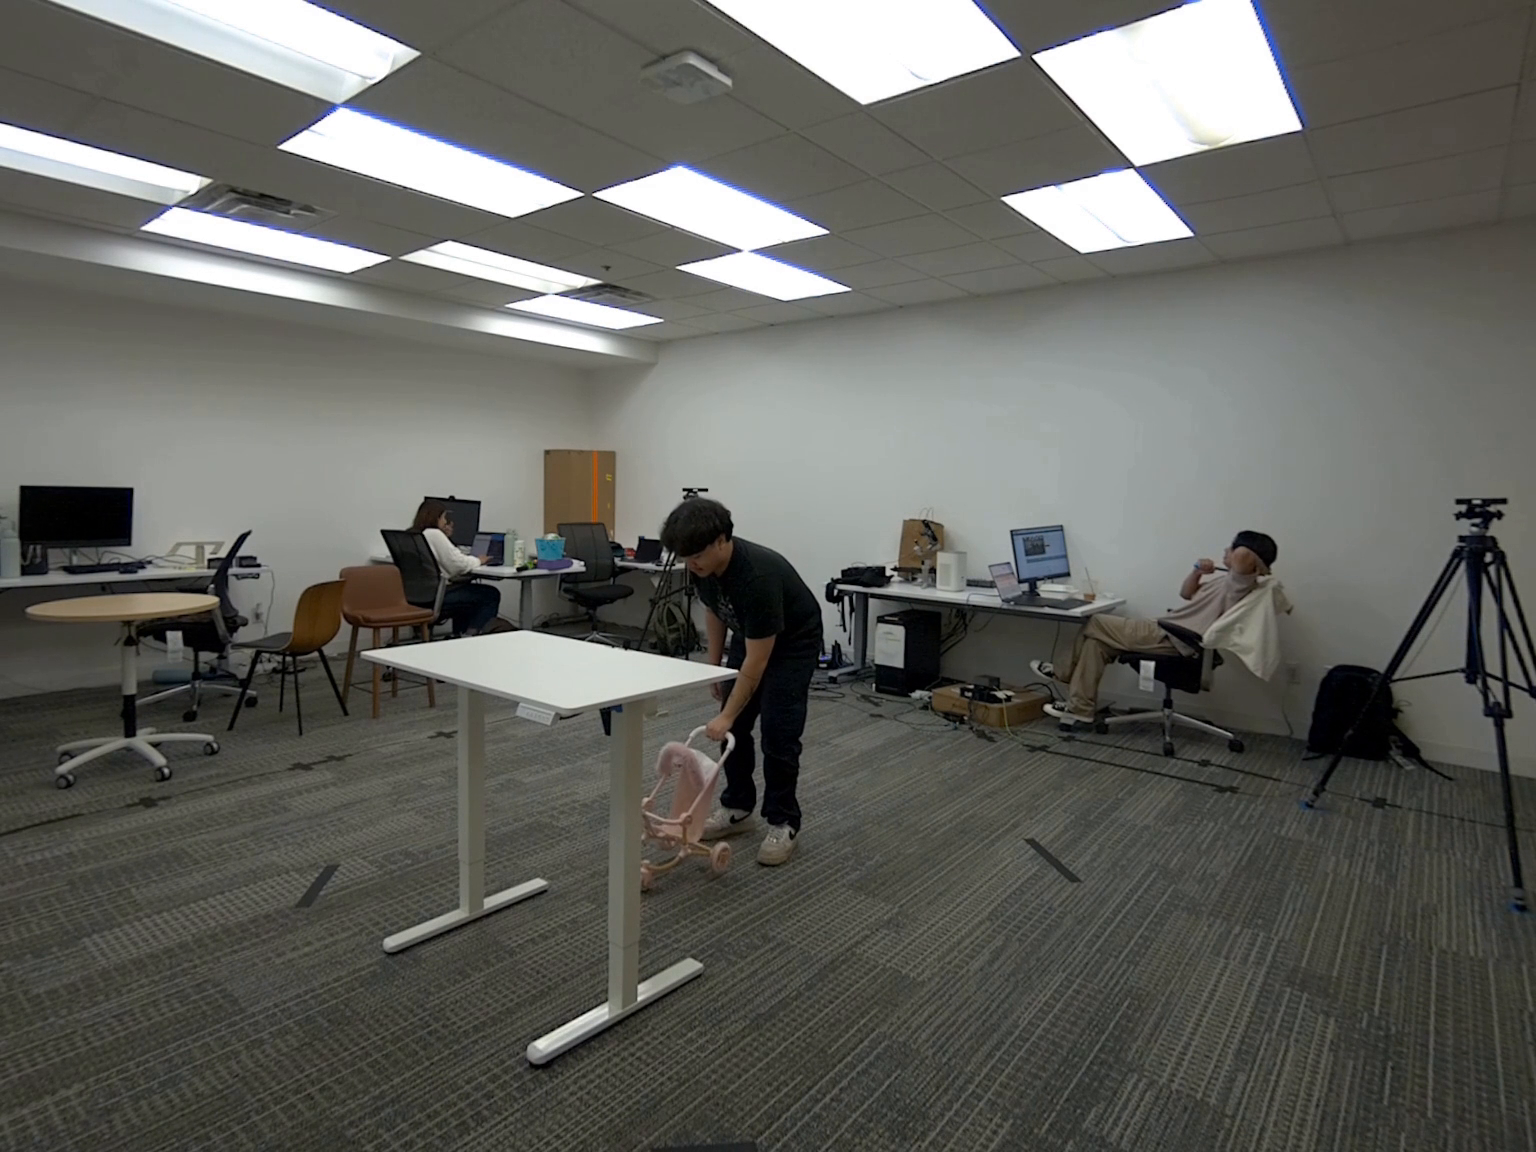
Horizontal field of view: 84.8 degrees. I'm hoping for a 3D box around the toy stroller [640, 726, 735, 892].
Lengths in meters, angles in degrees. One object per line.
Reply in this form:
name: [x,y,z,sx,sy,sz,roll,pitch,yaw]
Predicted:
toy stroller: [-0.326,0.826,3.042,0.291,0.536,0.329,6,-2,43]
